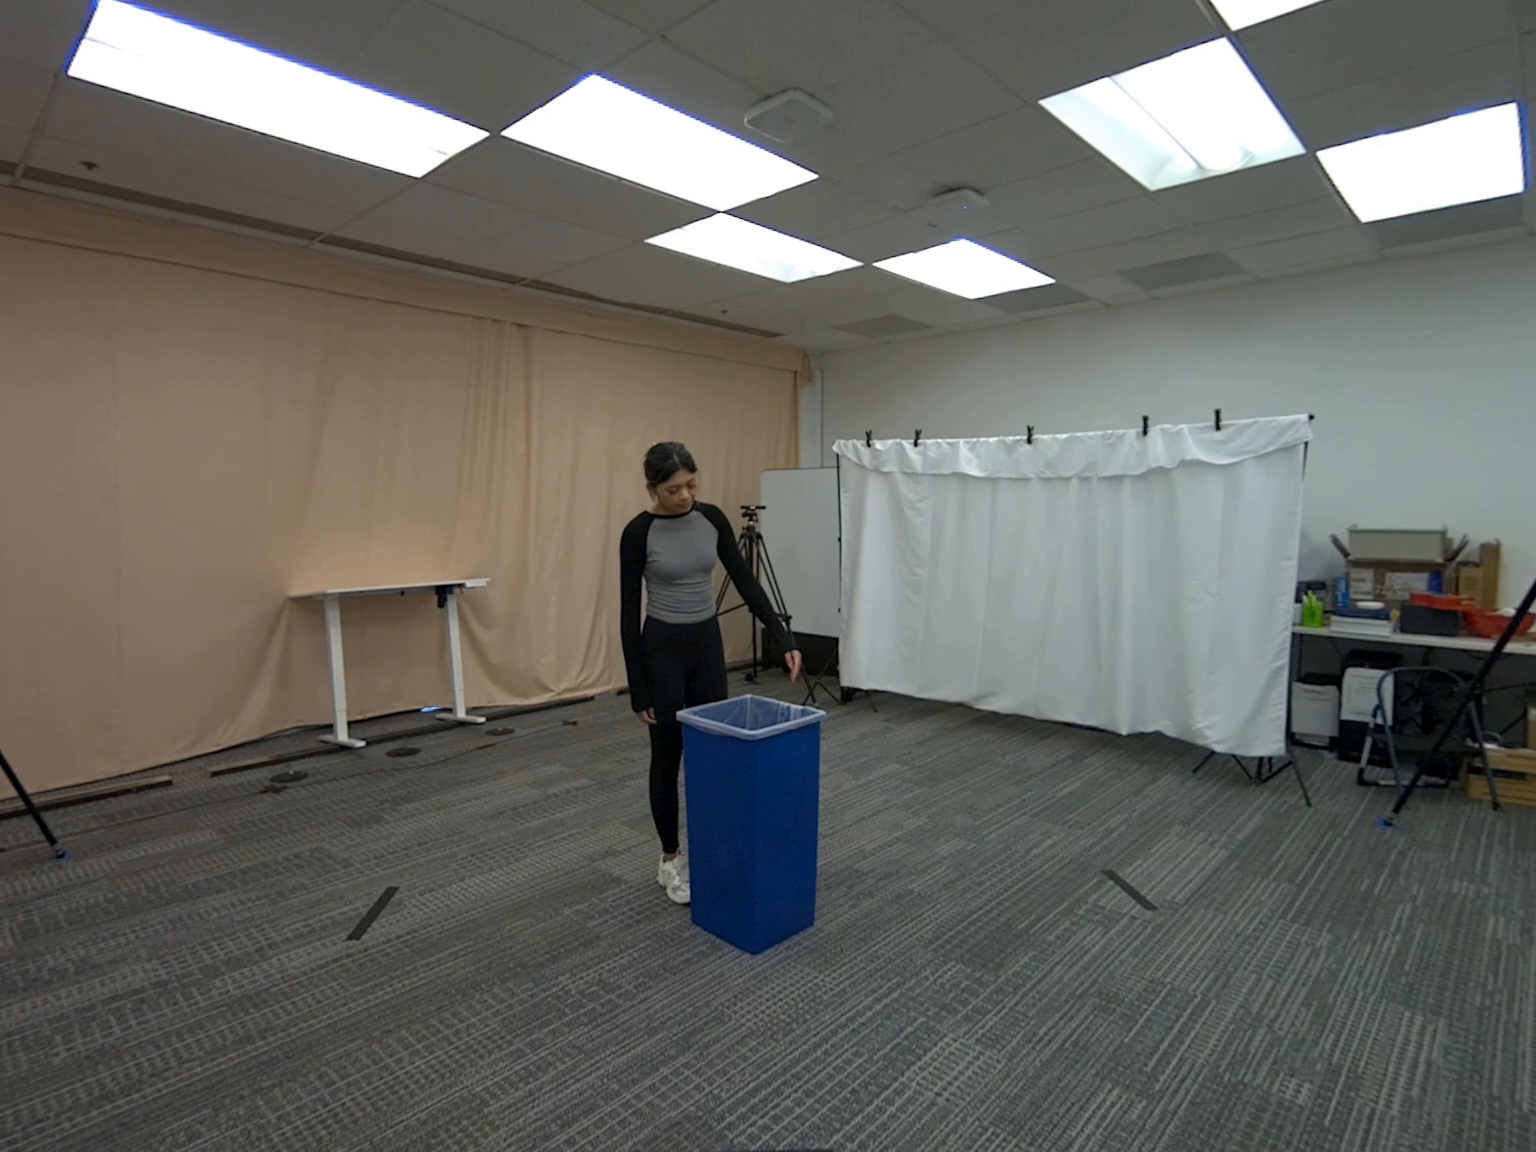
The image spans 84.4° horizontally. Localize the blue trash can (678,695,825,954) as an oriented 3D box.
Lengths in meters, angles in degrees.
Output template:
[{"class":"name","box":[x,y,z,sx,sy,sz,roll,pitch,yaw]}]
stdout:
[{"class":"blue trash can","box":[-0.050,0.803,2.785,0.391,0.712,0.362,3,4,45]}]
